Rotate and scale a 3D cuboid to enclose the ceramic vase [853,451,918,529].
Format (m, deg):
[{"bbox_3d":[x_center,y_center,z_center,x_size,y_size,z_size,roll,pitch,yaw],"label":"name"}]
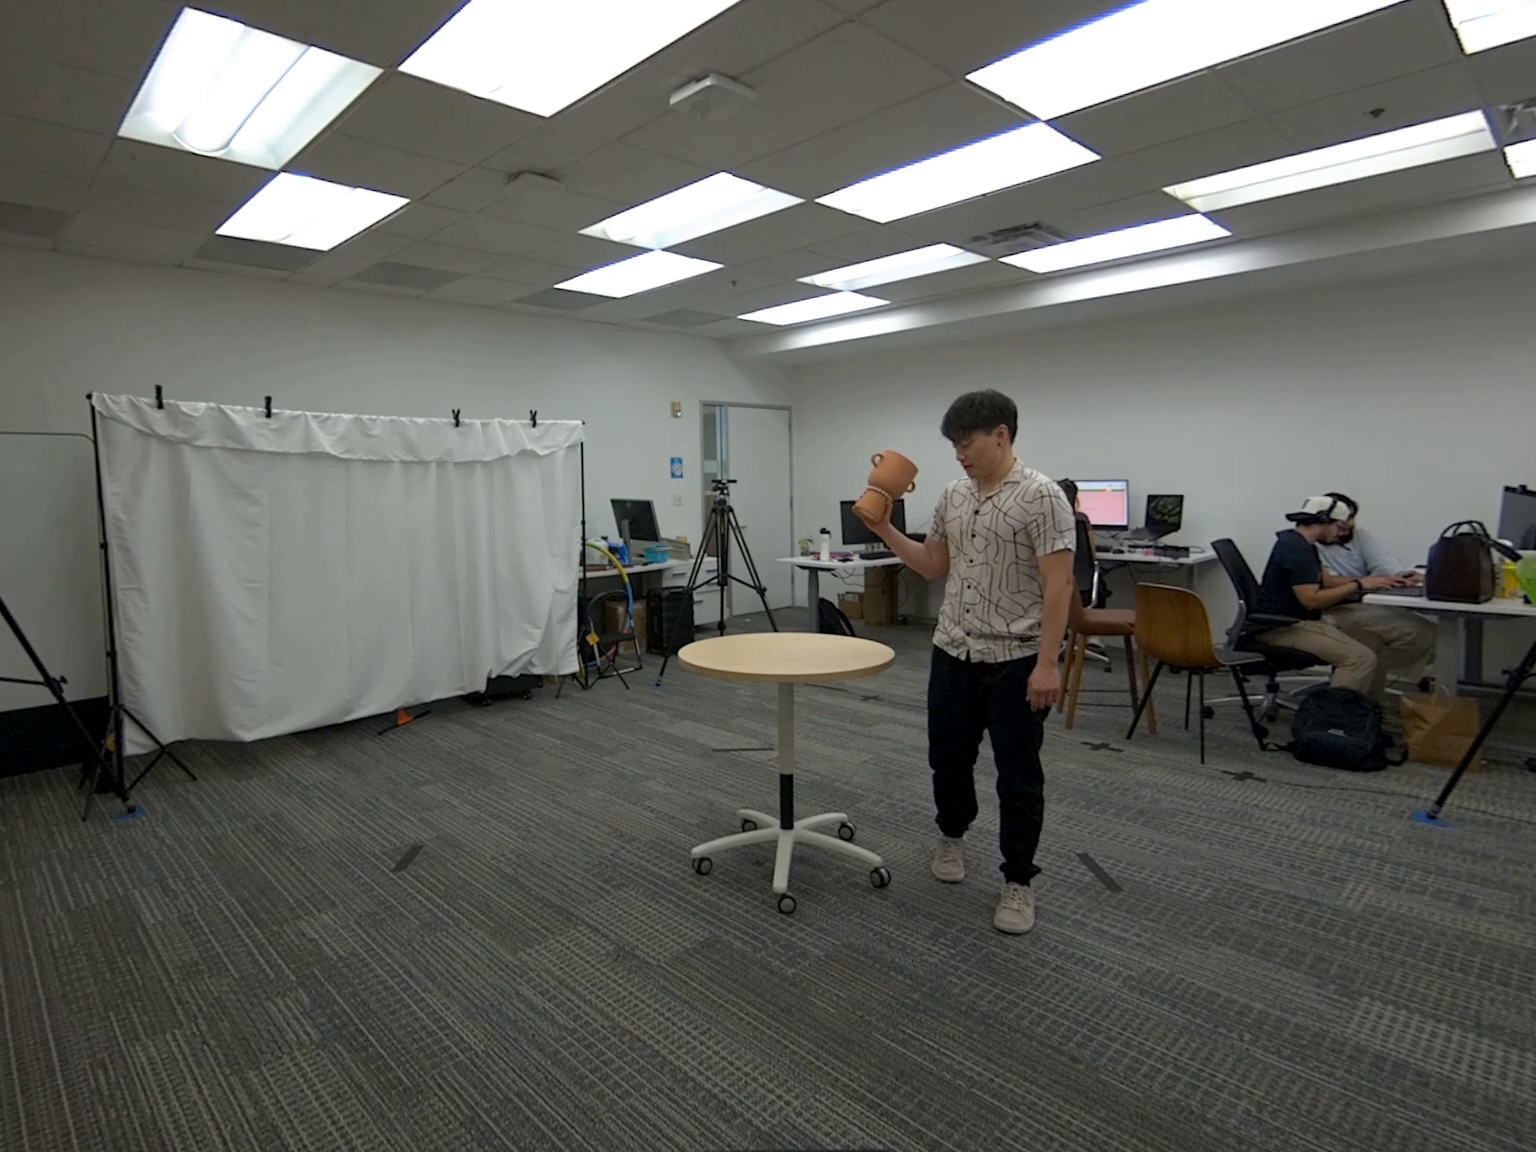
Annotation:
[{"bbox_3d":[0.402,-0.300,2.871,0.163,0.220,0.131,31,-6,21],"label":"ceramic vase"}]
